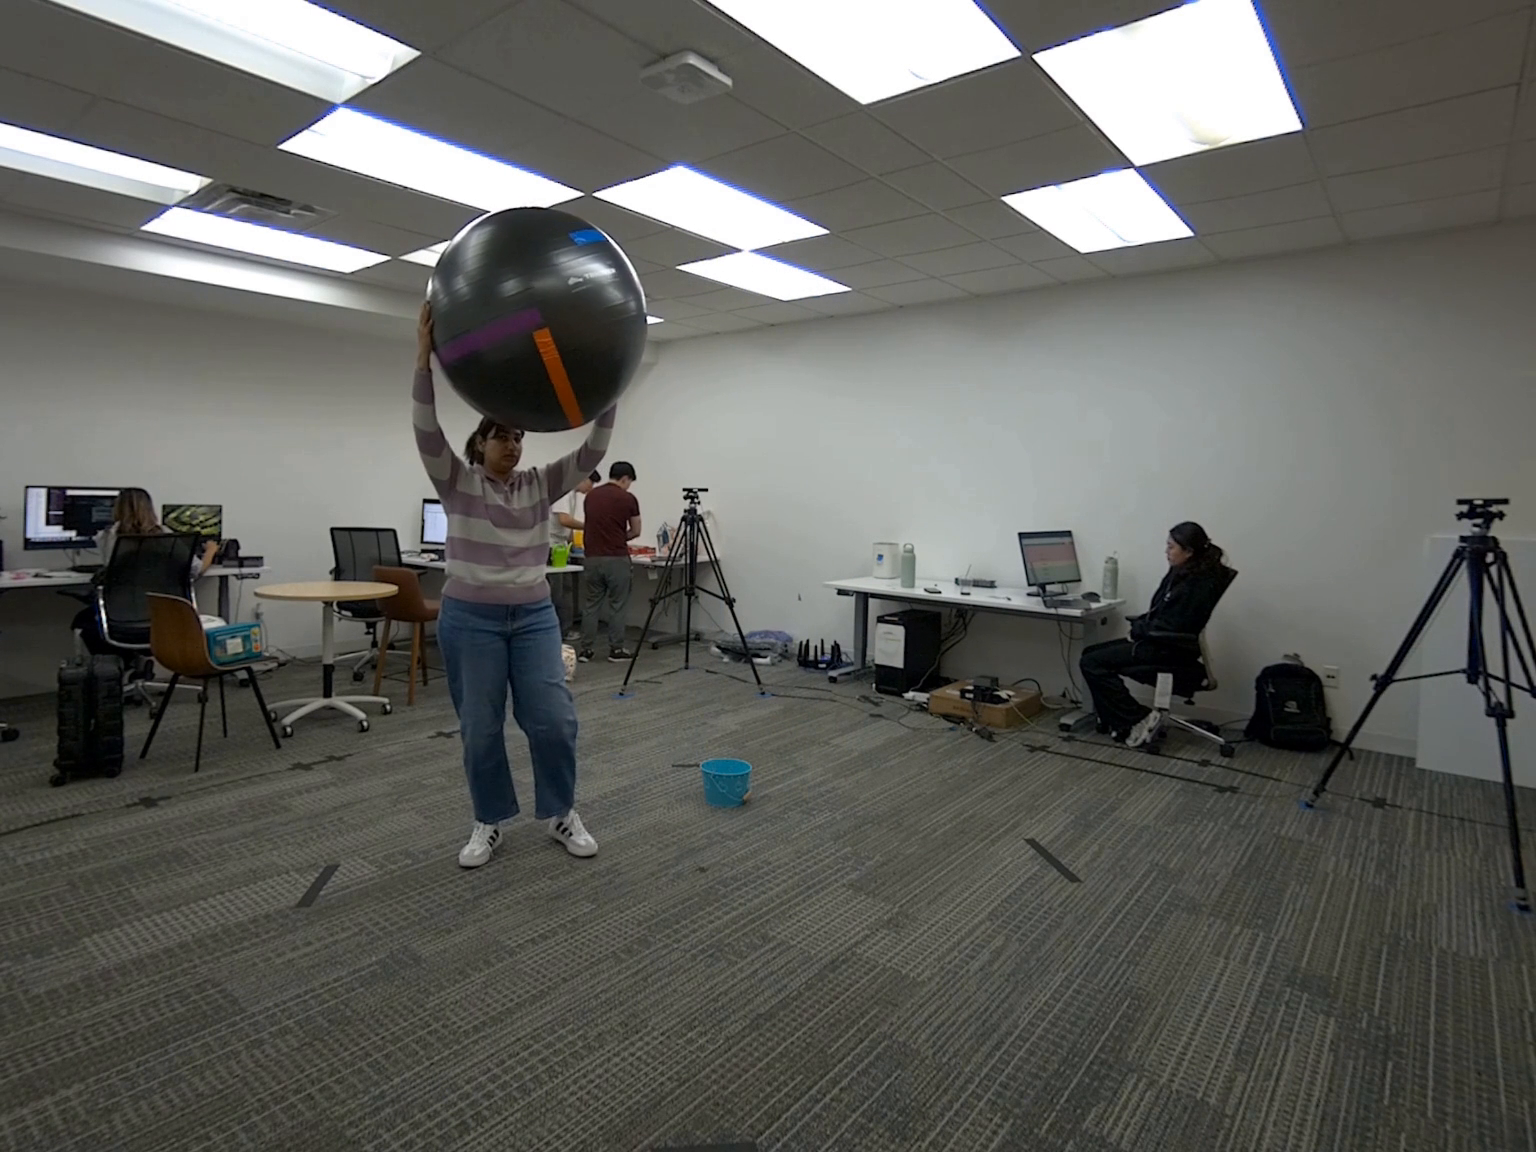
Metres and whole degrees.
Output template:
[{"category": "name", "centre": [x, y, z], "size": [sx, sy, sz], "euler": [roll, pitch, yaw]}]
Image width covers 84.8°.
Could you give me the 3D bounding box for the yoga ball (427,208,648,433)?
[{"category": "yoga ball", "centre": [-0.806, -0.879, 2.953], "size": [0.757, 0.756, 0.761], "euler": [1, 4, -2]}]
